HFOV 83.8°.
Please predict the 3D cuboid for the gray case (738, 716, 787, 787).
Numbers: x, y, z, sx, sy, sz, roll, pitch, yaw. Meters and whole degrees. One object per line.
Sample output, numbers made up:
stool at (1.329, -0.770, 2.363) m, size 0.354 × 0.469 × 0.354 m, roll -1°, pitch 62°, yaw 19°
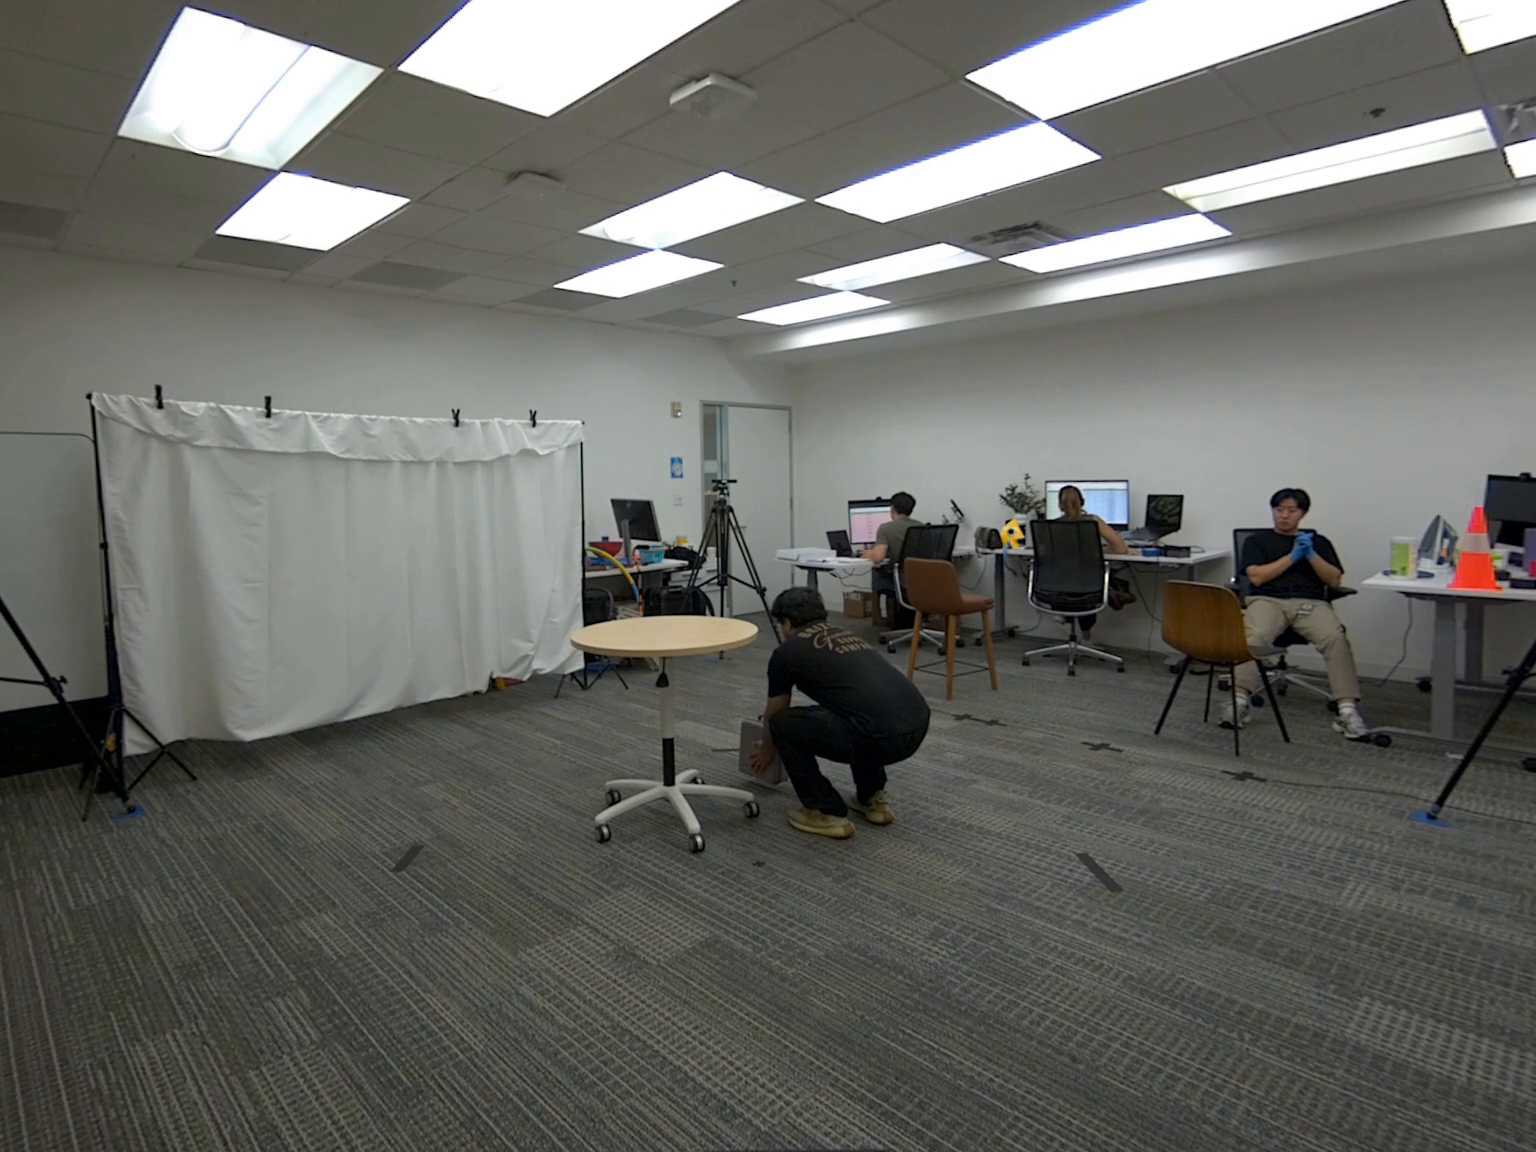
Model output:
gray case at (-0.019, 0.794, 3.920) m, size 0.101 × 0.261 × 0.265 m, roll 3°, pitch 0°, yaw -43°
